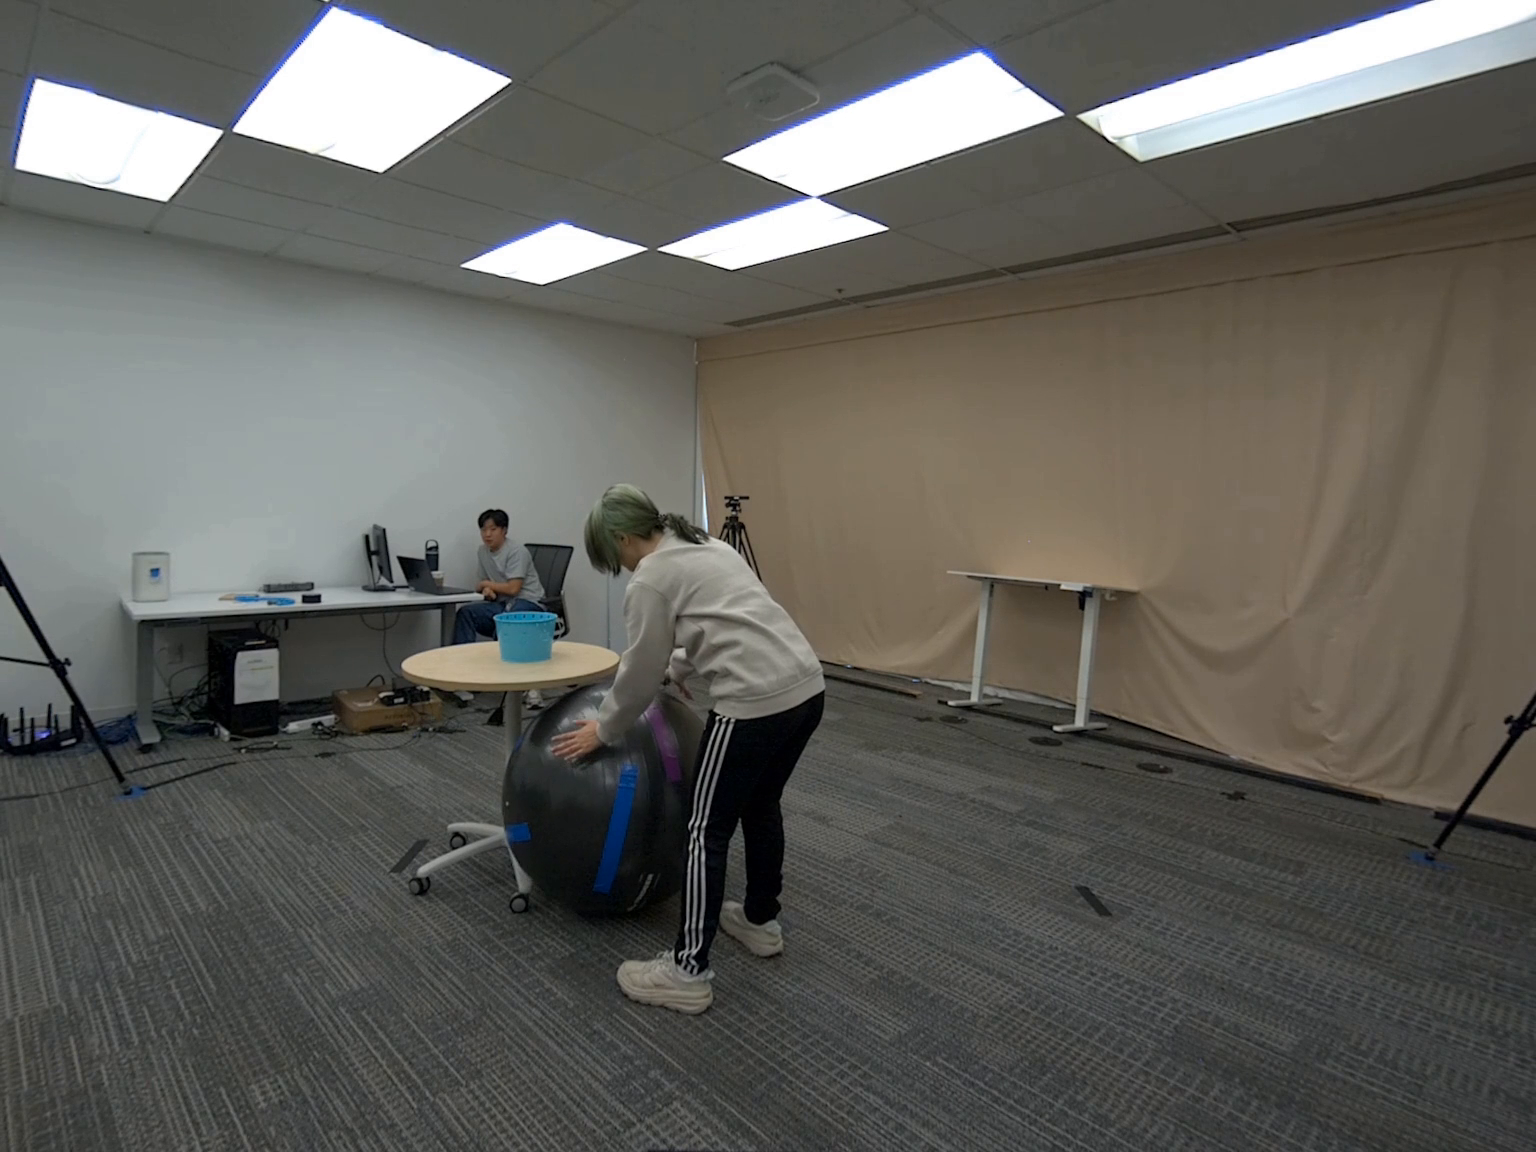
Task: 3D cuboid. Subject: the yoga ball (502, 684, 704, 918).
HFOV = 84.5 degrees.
[{"bbox_3d":[-0.516,0.748,2.861,0.757,0.756,0.761,1,4,-1],"label":"yoga ball"}]
